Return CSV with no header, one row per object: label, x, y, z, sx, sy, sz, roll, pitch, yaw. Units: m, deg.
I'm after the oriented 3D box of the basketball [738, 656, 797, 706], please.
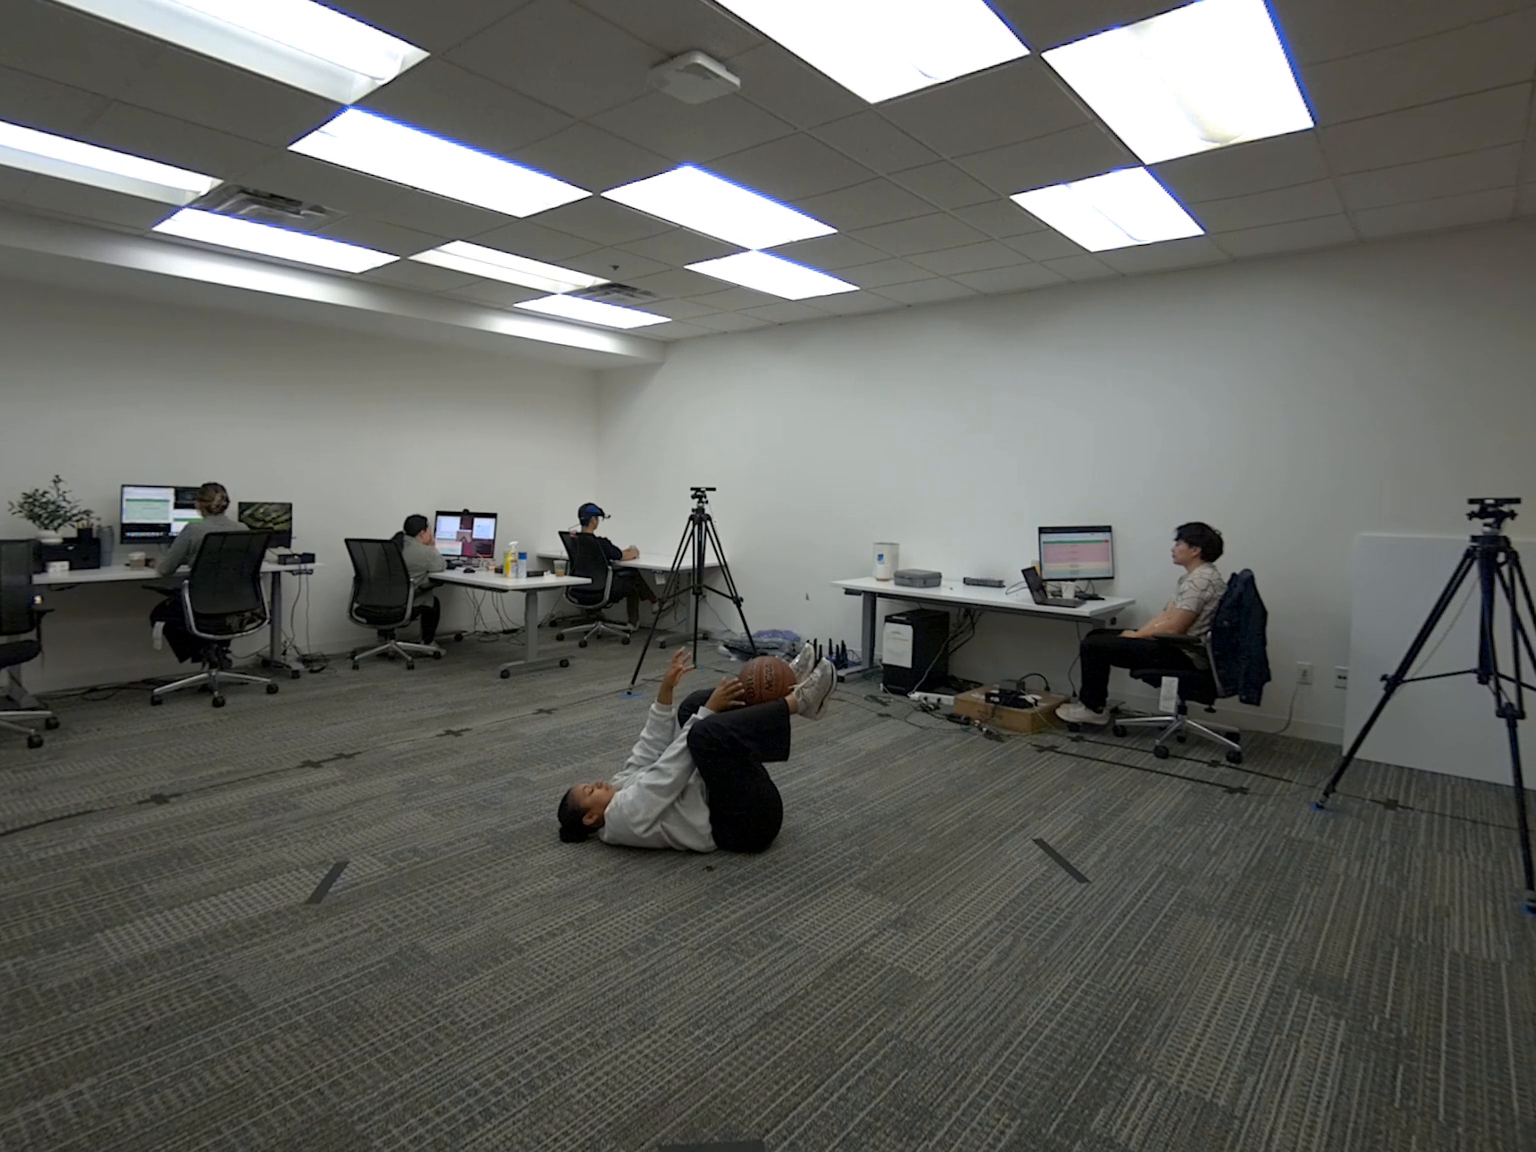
basketball,-0.011,0.434,3.371,0.235,0.235,0.237,1,4,-2
